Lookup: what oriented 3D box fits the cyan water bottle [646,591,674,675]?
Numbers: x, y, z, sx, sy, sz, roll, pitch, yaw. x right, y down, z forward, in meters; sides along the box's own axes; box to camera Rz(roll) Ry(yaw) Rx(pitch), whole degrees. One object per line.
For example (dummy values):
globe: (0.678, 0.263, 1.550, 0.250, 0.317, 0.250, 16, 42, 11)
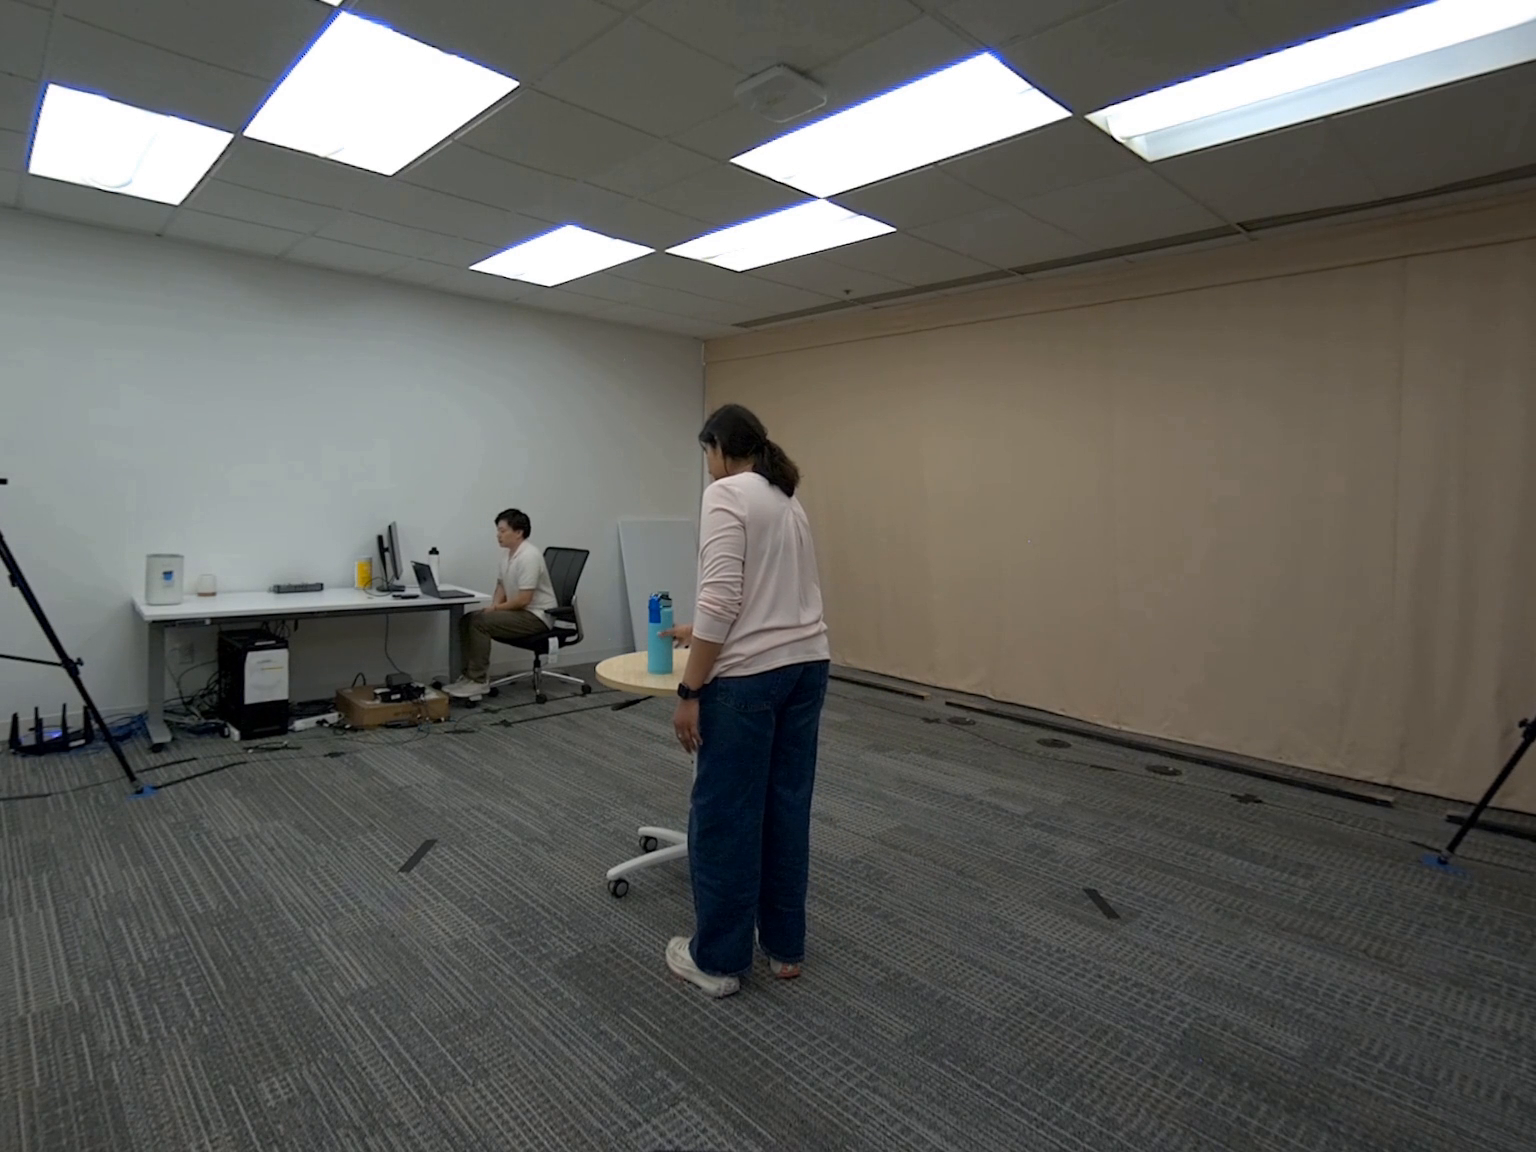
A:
cyan water bottle: (-0.388, 0.195, 2.928, 0.092, 0.283, 0.092, 0, 3, -1)
